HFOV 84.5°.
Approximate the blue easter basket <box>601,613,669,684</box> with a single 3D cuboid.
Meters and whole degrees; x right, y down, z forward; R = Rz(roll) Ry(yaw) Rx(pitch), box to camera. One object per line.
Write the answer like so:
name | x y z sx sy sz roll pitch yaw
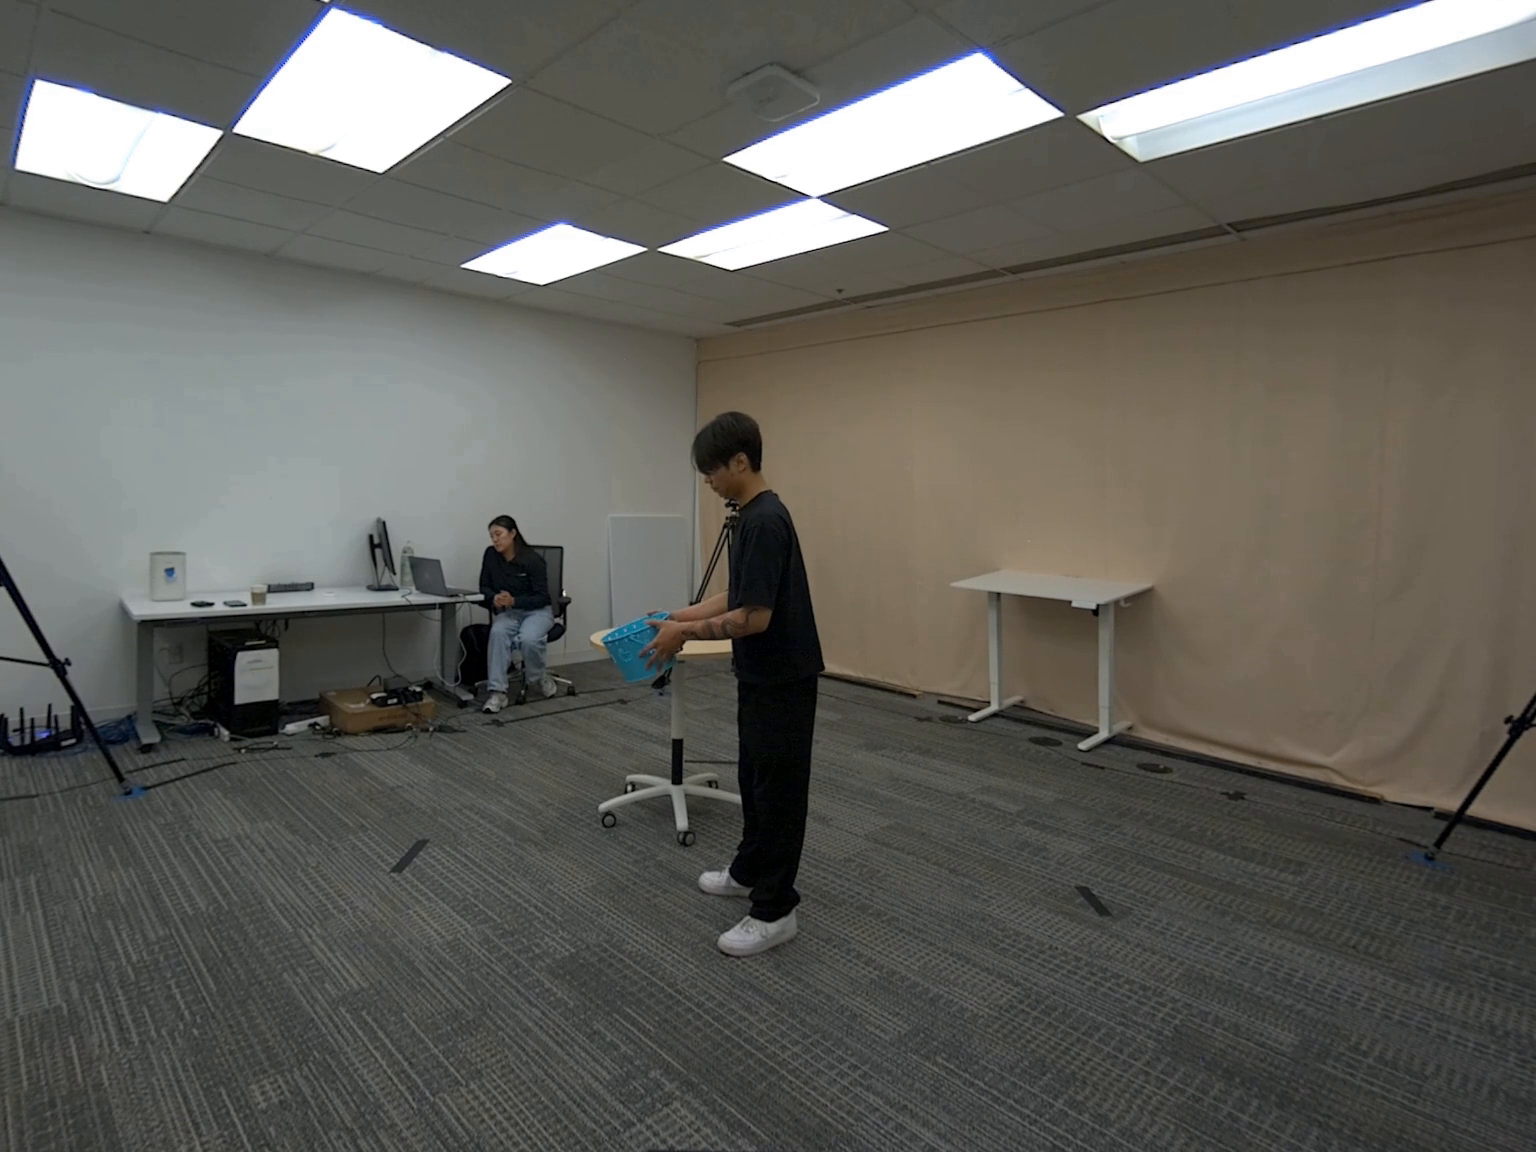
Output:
blue easter basket | -0.399 0.234 2.680 0.243 0.155 0.244 -21 6 0
